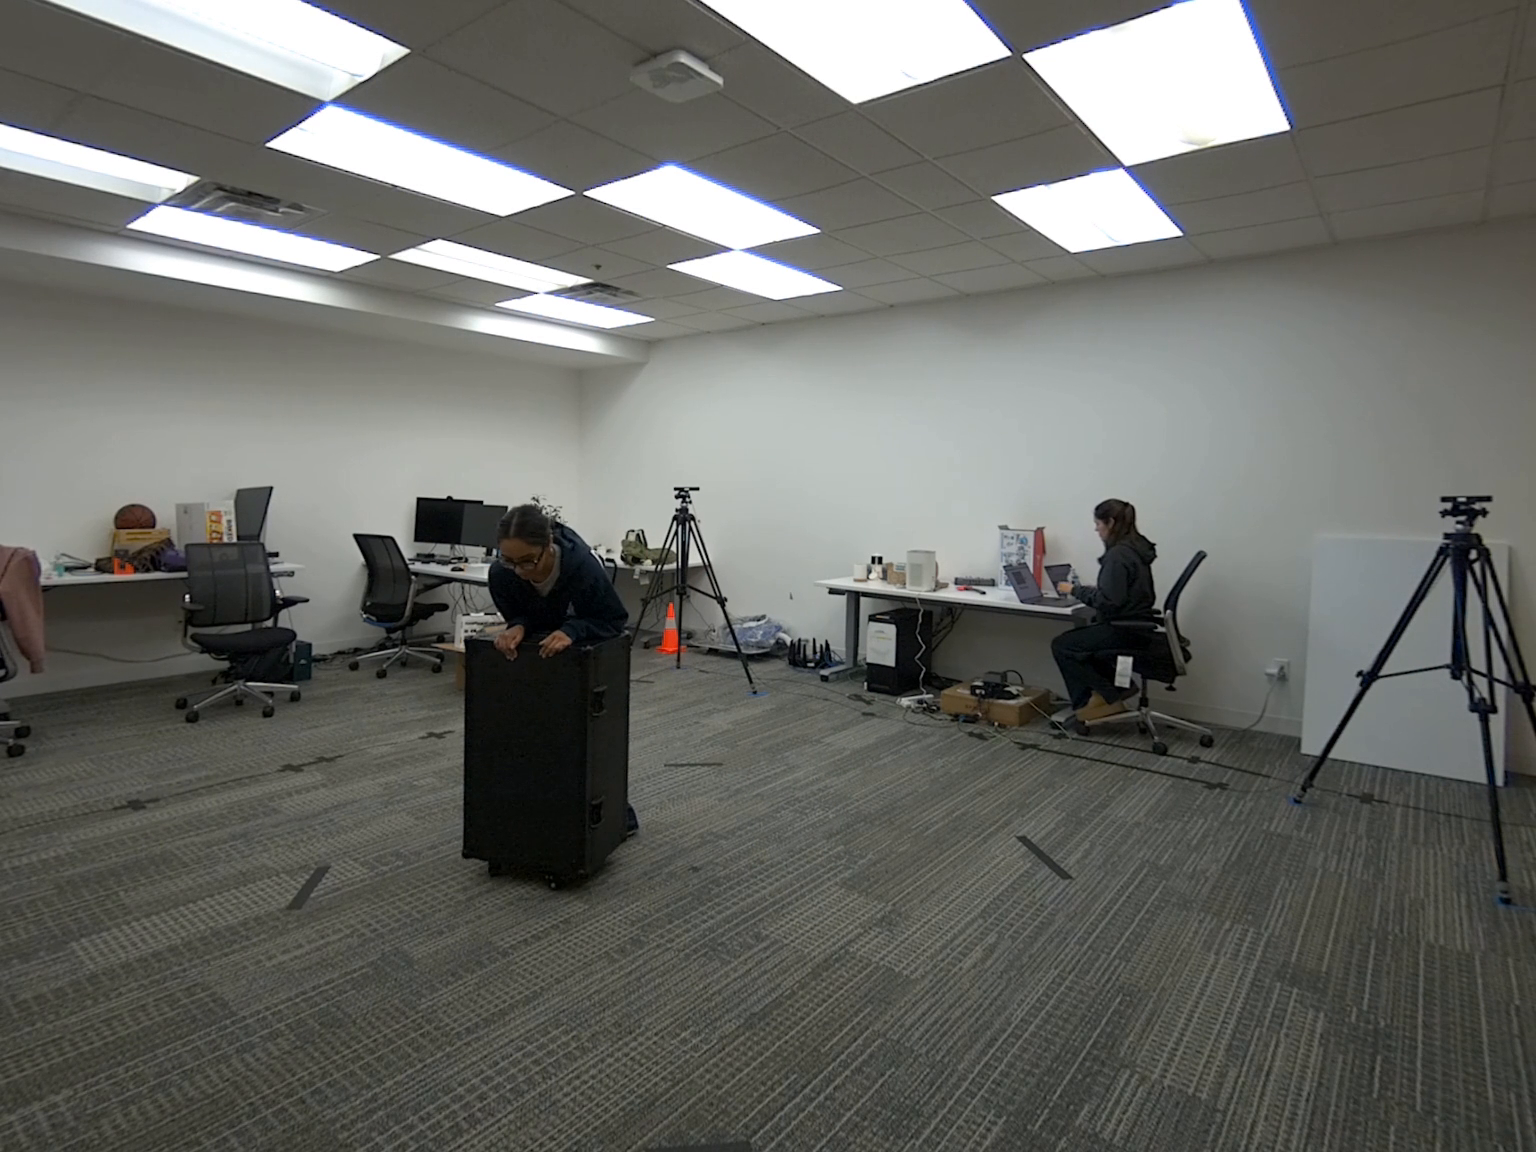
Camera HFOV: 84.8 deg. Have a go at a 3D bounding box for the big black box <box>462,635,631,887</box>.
[{"bbox_3d":[-0.803,0.637,3.075,0.530,0.860,0.390,2,2,16],"label":"big black box"}]
